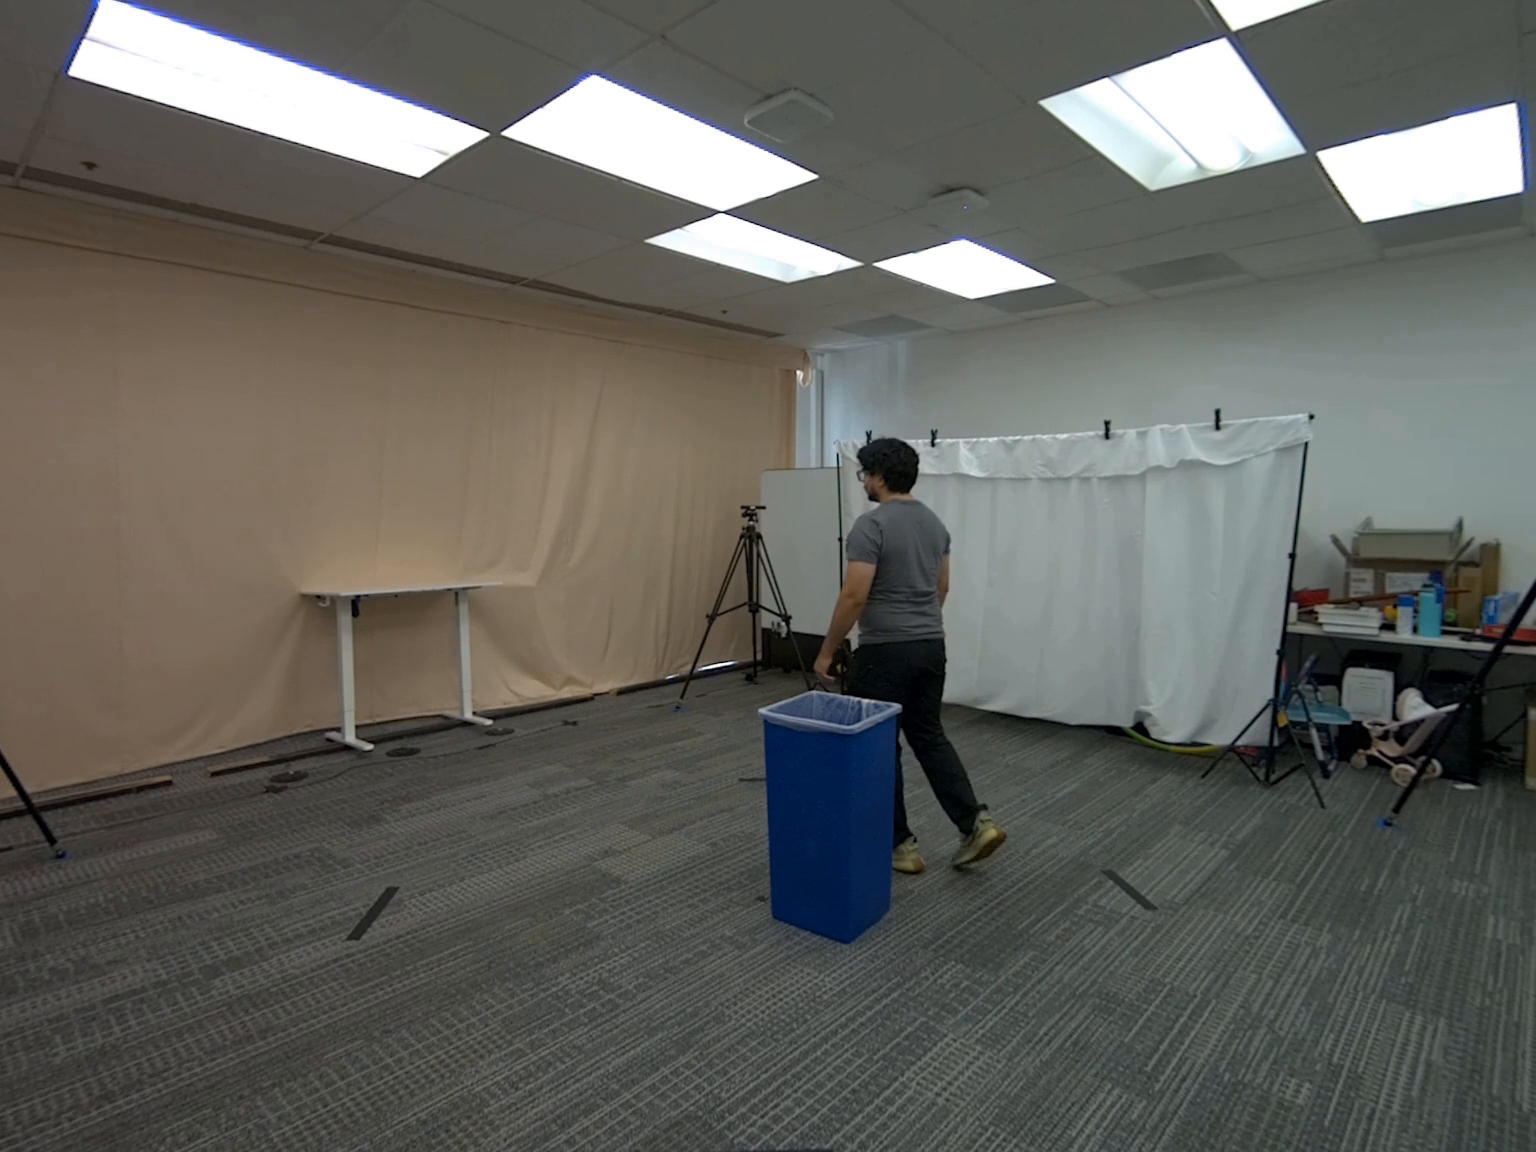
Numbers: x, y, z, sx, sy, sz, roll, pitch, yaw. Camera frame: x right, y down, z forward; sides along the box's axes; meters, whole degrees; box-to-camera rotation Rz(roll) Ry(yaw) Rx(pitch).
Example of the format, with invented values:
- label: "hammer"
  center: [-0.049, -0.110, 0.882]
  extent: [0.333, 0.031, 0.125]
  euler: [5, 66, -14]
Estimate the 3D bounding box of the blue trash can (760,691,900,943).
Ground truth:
- label: "blue trash can"
  center: [0.213, 0.797, 2.846]
  extent: [0.390, 0.712, 0.363]
  euler: [2, 4, 36]
